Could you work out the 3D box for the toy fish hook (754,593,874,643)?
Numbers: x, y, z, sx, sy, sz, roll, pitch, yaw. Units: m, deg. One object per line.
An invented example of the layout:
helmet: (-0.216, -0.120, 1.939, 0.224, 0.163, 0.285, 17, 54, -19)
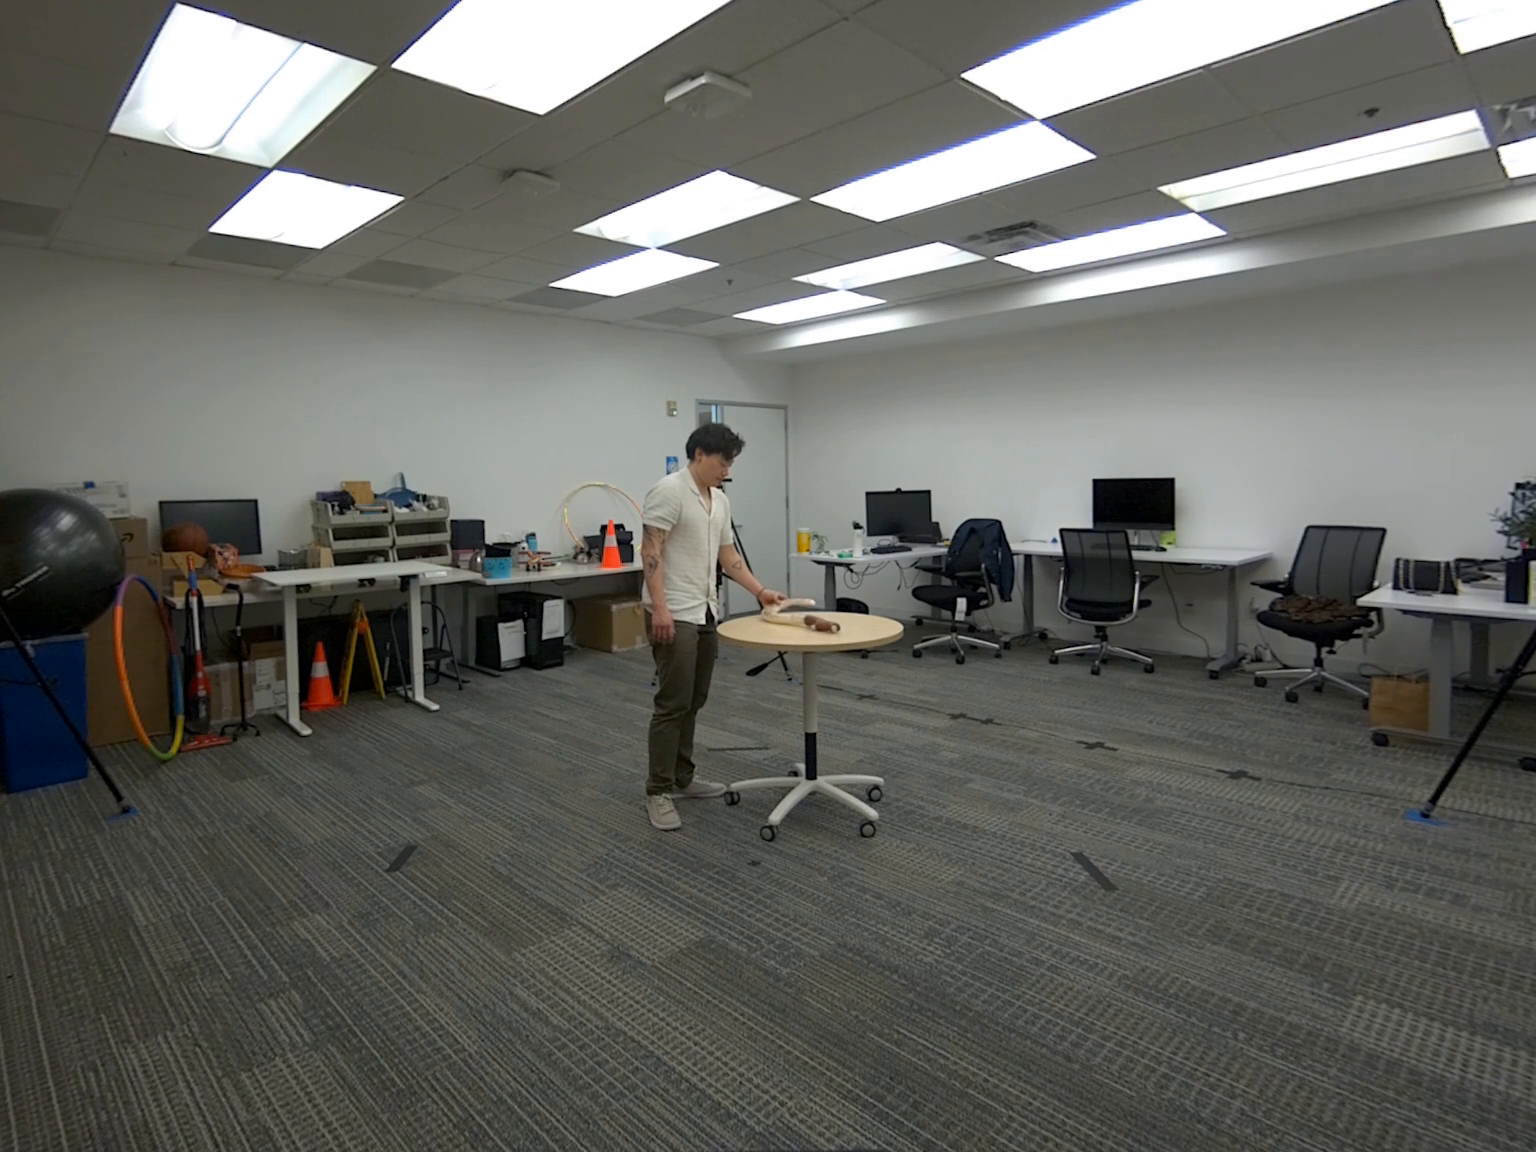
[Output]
toy fish hook: (0.181, 0.166, 3.592, 0.222, 0.047, 0.522, -26, 19, -30)
